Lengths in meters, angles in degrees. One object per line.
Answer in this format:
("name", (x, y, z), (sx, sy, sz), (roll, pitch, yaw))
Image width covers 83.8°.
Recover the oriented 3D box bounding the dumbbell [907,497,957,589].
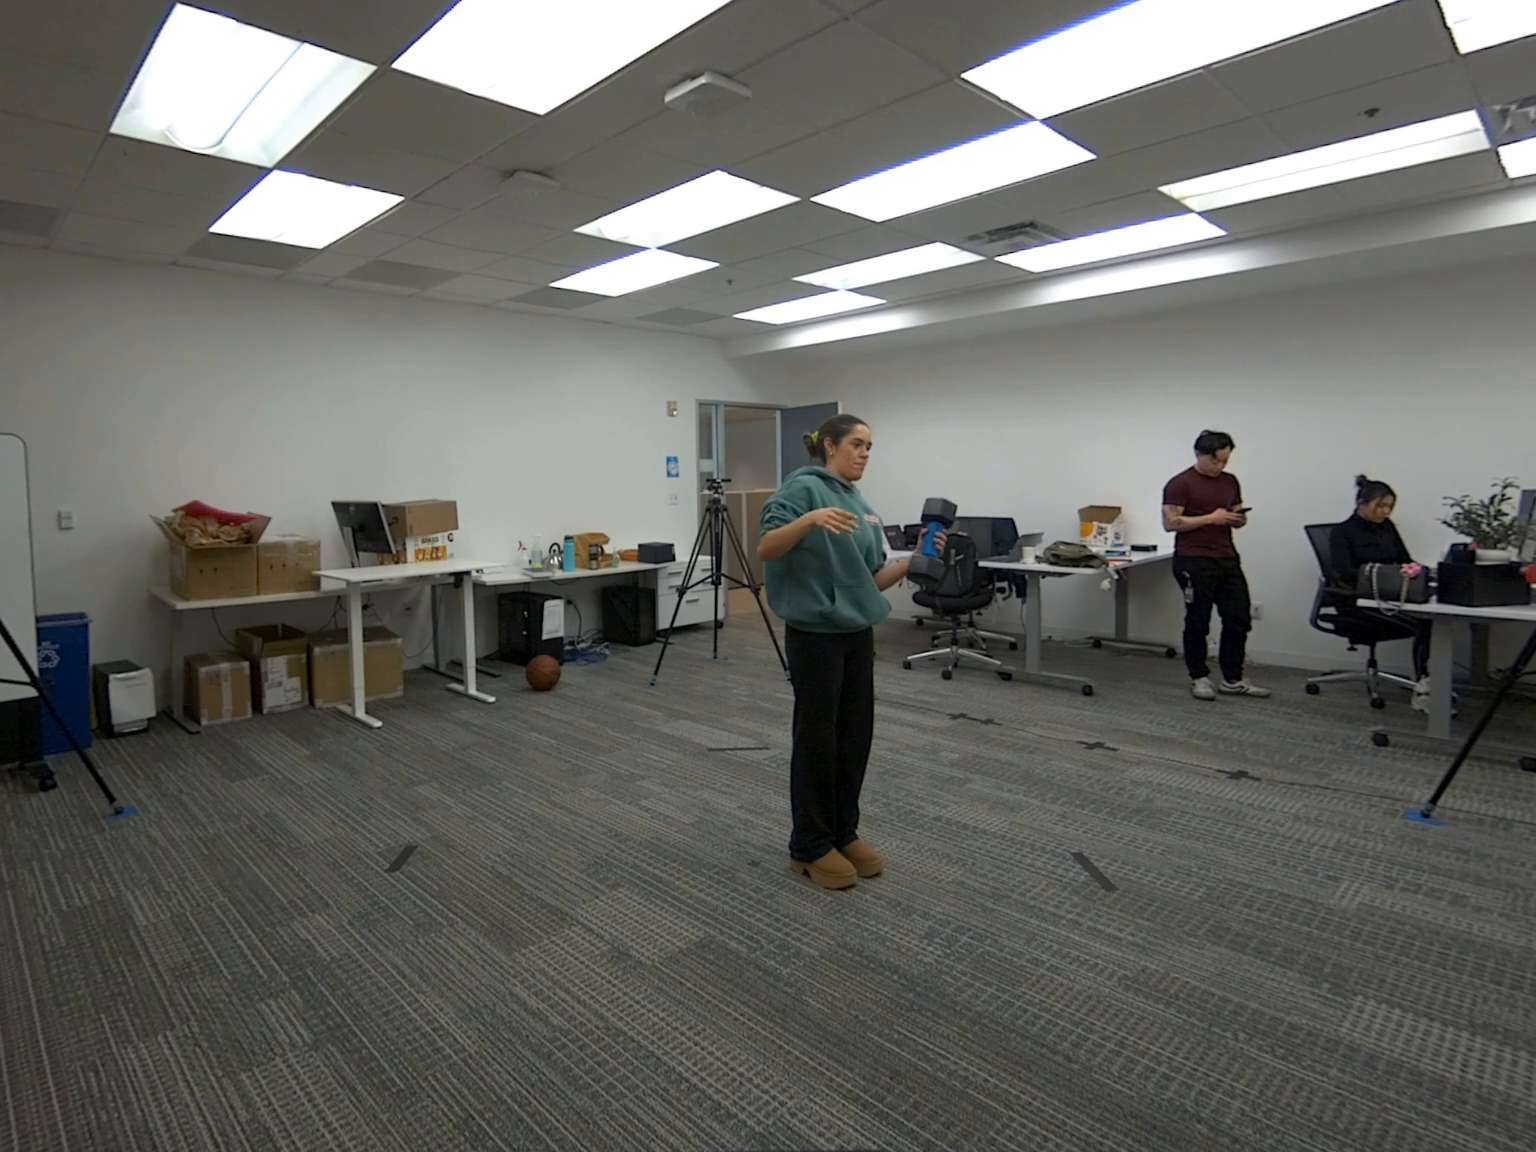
("dumbbell", (0.537, -0.115, 2.869), (0.120, 0.296, 0.110), (24, -19, -20))
